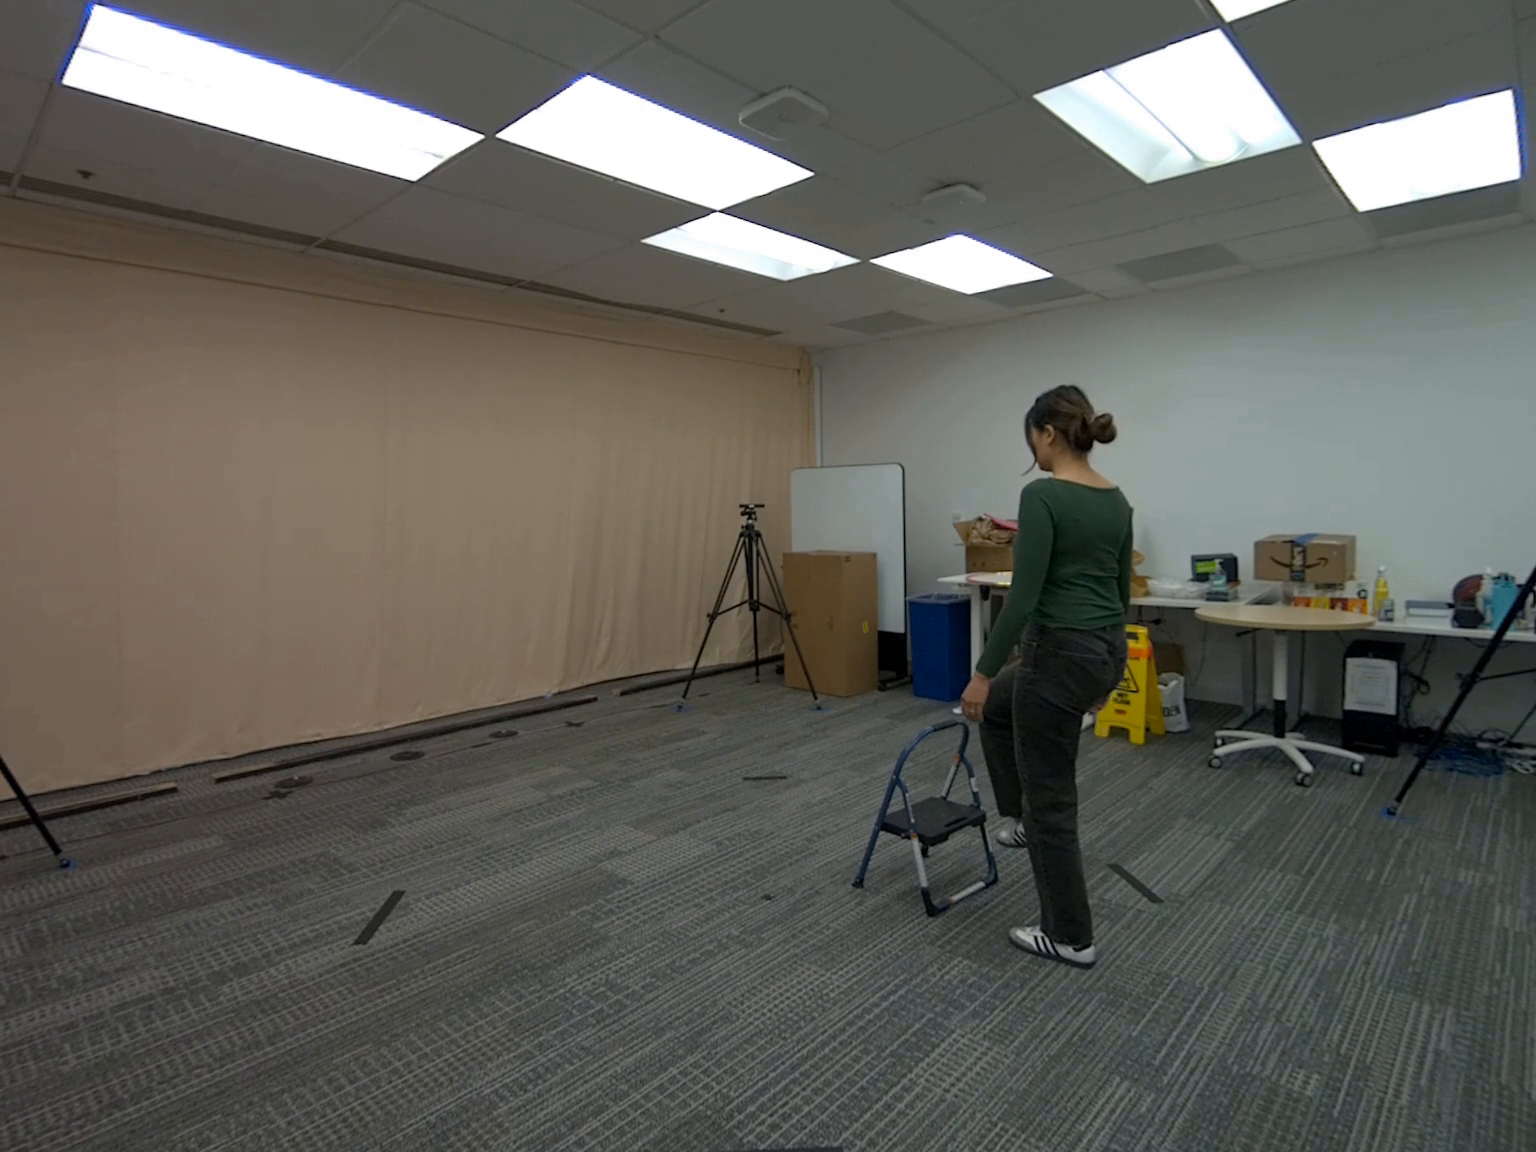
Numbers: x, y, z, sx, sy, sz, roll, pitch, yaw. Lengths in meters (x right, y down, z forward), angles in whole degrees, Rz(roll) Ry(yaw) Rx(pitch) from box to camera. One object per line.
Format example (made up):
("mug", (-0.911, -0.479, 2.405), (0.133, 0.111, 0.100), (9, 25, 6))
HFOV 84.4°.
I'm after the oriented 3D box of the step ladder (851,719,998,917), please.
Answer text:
("step ladder", (0.577, 0.818, 3.055), (0.417, 0.604, 0.361), (-4, 5, -43))
